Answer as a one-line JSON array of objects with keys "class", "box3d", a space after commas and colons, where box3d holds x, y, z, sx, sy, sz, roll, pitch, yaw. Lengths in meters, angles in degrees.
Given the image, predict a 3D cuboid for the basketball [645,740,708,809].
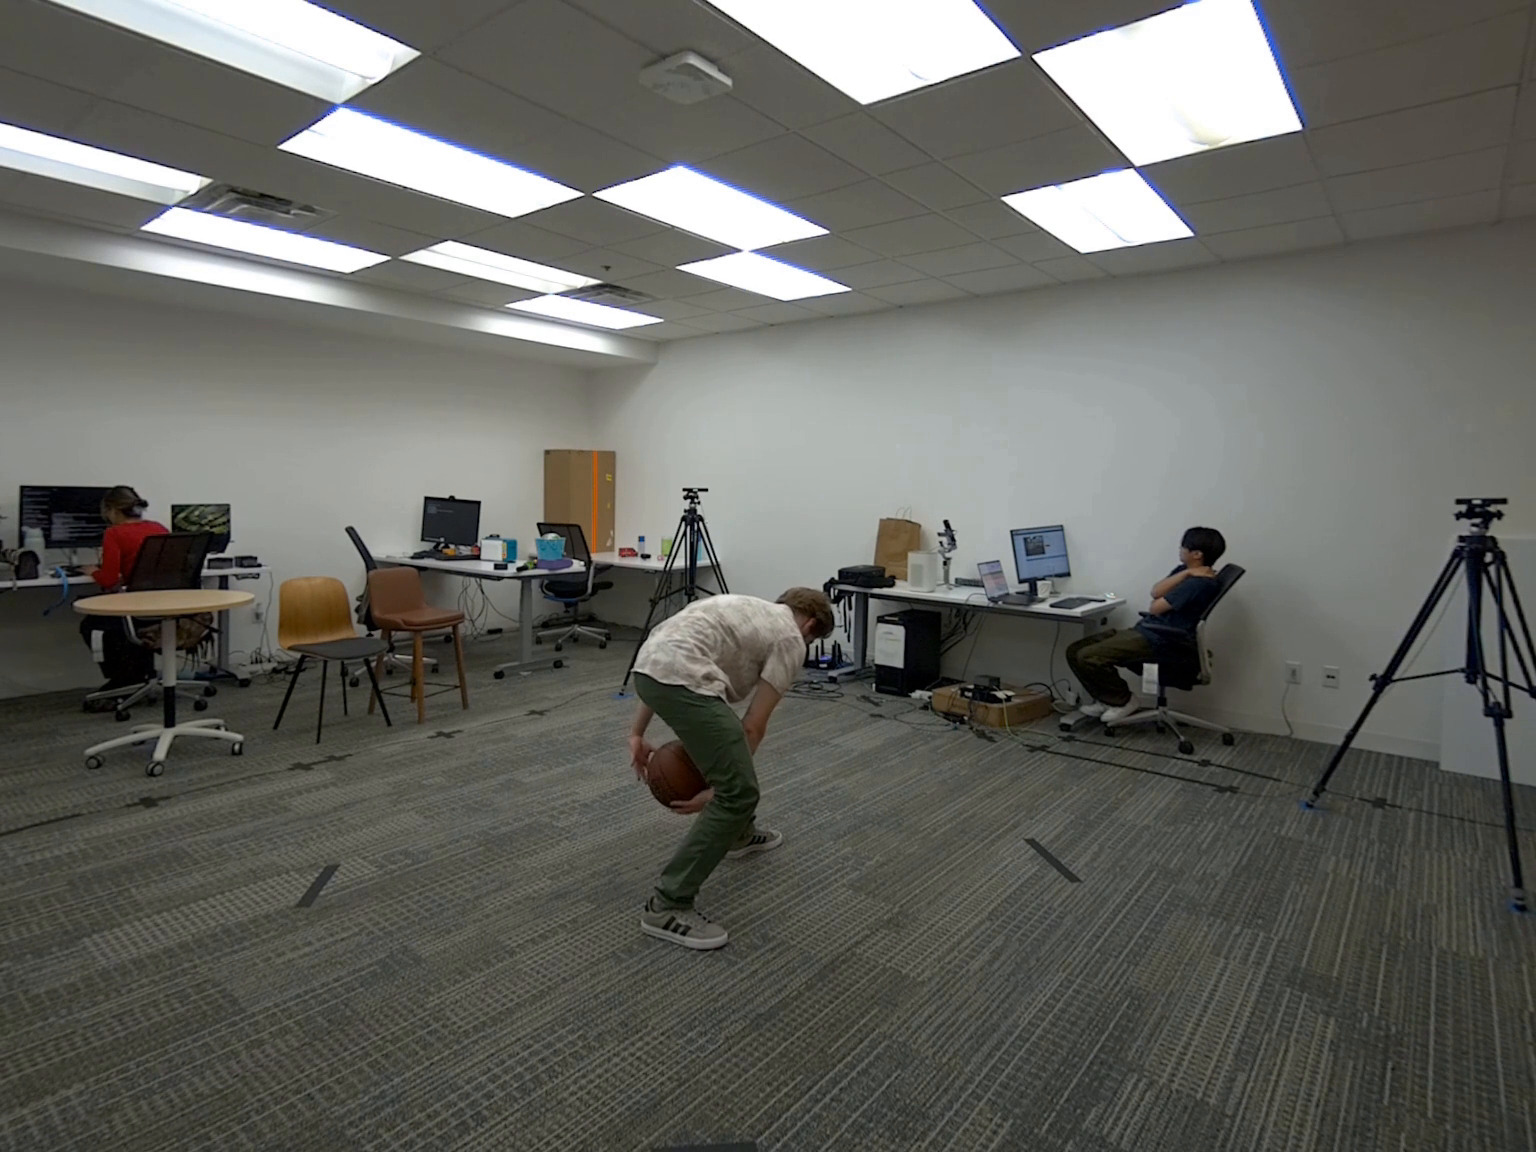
[{"class": "basketball", "box3d": [-0.304, 0.689, 2.994, 0.235, 0.235, 0.237, 1, 4, -2]}]
